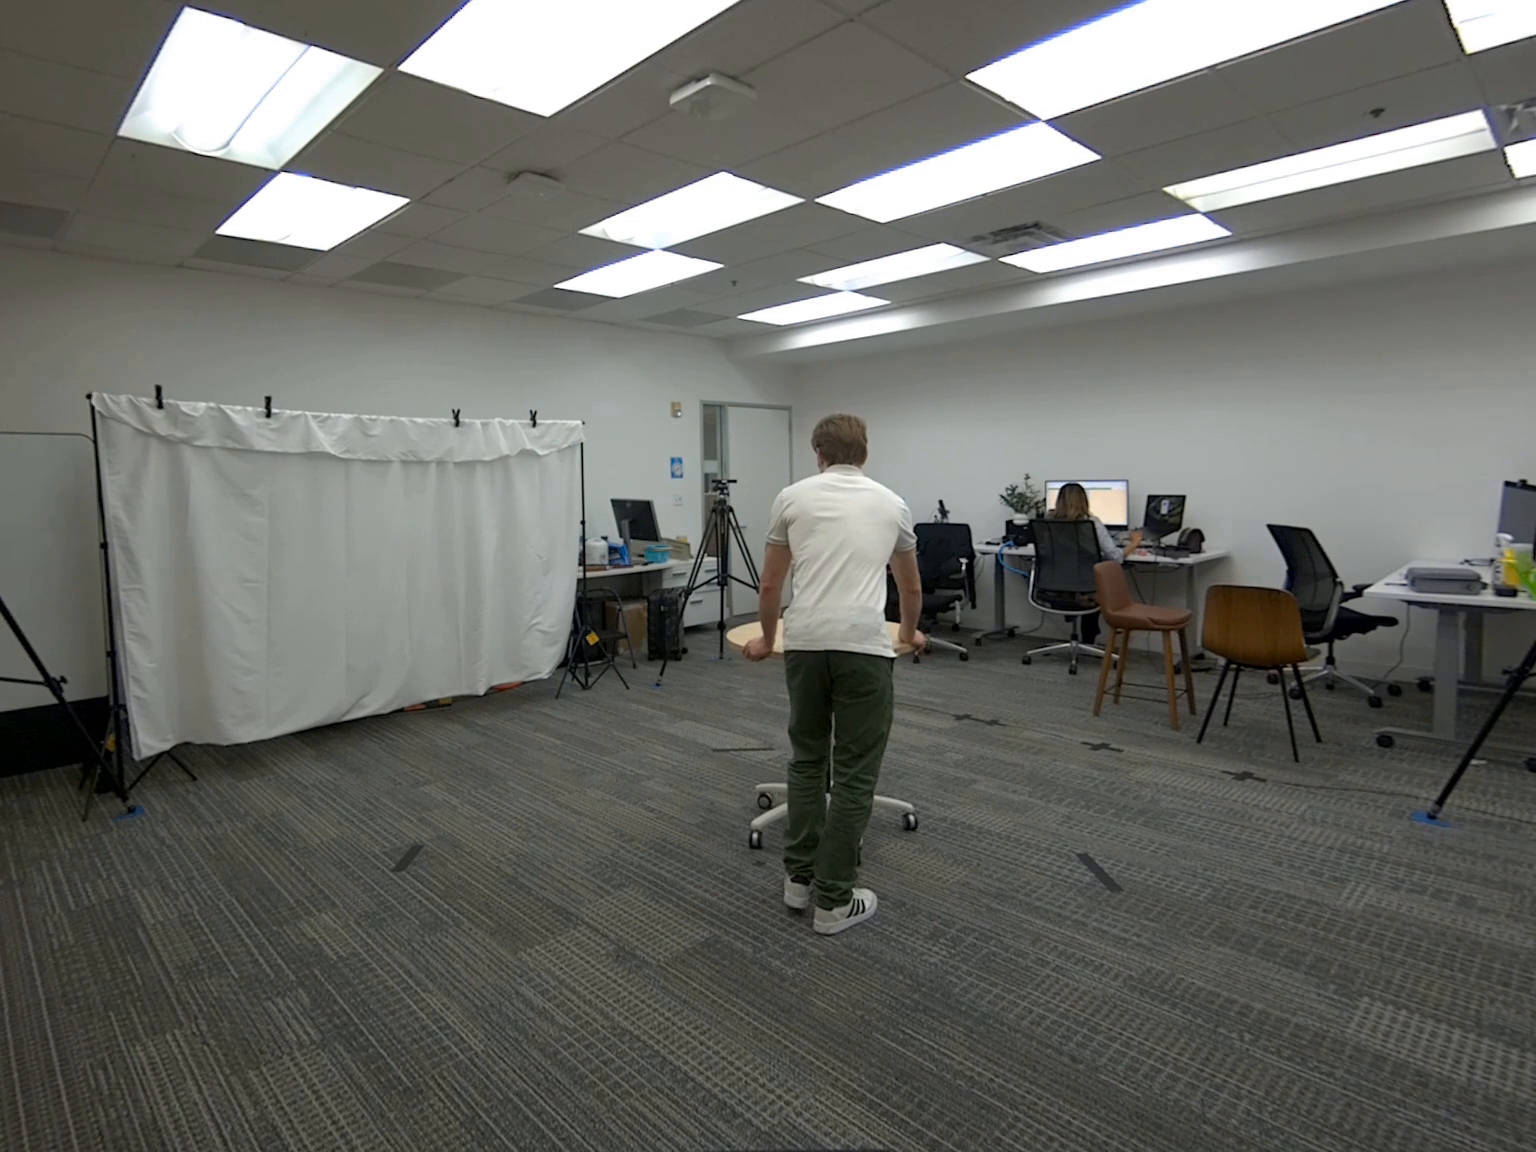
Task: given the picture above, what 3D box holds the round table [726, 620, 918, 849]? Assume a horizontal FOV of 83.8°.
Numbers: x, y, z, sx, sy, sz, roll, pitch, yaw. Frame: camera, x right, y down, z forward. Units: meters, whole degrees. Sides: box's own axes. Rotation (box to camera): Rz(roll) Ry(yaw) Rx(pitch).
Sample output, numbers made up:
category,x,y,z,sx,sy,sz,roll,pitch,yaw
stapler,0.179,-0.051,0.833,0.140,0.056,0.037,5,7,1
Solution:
category,x,y,z,sx,sy,sz,roll,pitch,yaw
round table,0.230,0.620,3.422,0.763,0.790,0.768,-1,5,-2
